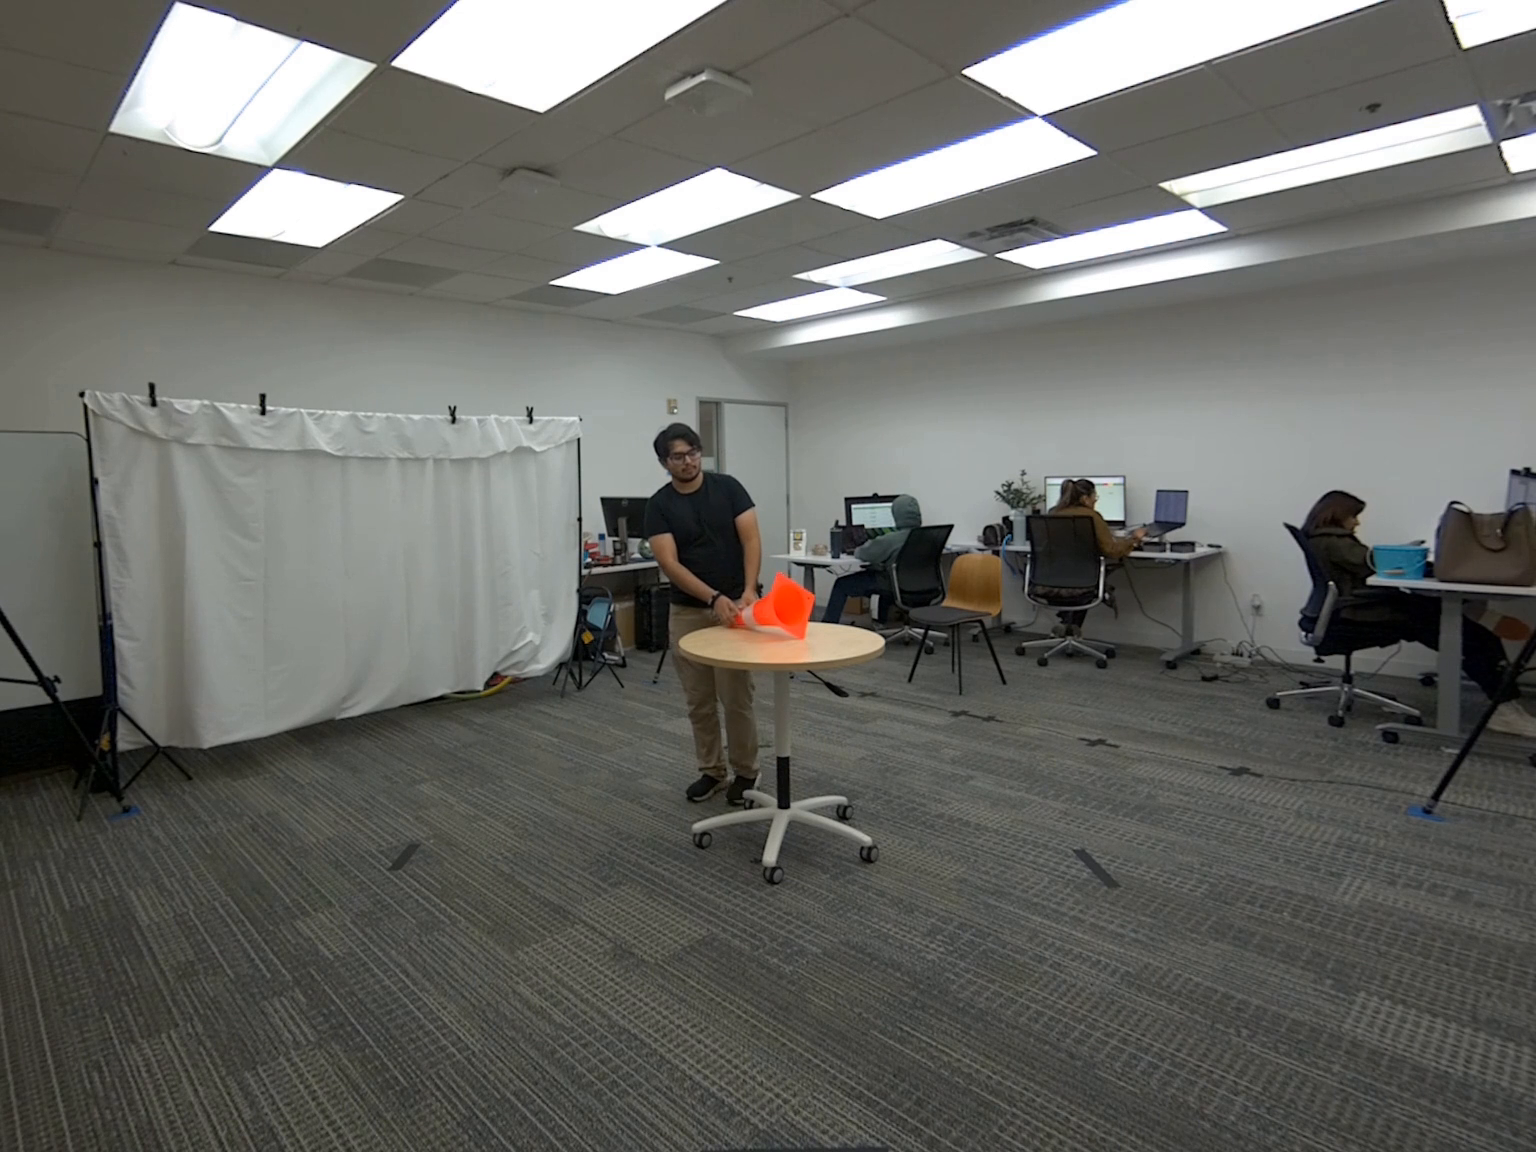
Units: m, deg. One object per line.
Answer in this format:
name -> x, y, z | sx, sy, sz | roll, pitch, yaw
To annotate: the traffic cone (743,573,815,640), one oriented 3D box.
traffic cone -> -0.029, 0.158, 3.356 | 0.197, 0.208, 0.389 | 33, -32, -25
